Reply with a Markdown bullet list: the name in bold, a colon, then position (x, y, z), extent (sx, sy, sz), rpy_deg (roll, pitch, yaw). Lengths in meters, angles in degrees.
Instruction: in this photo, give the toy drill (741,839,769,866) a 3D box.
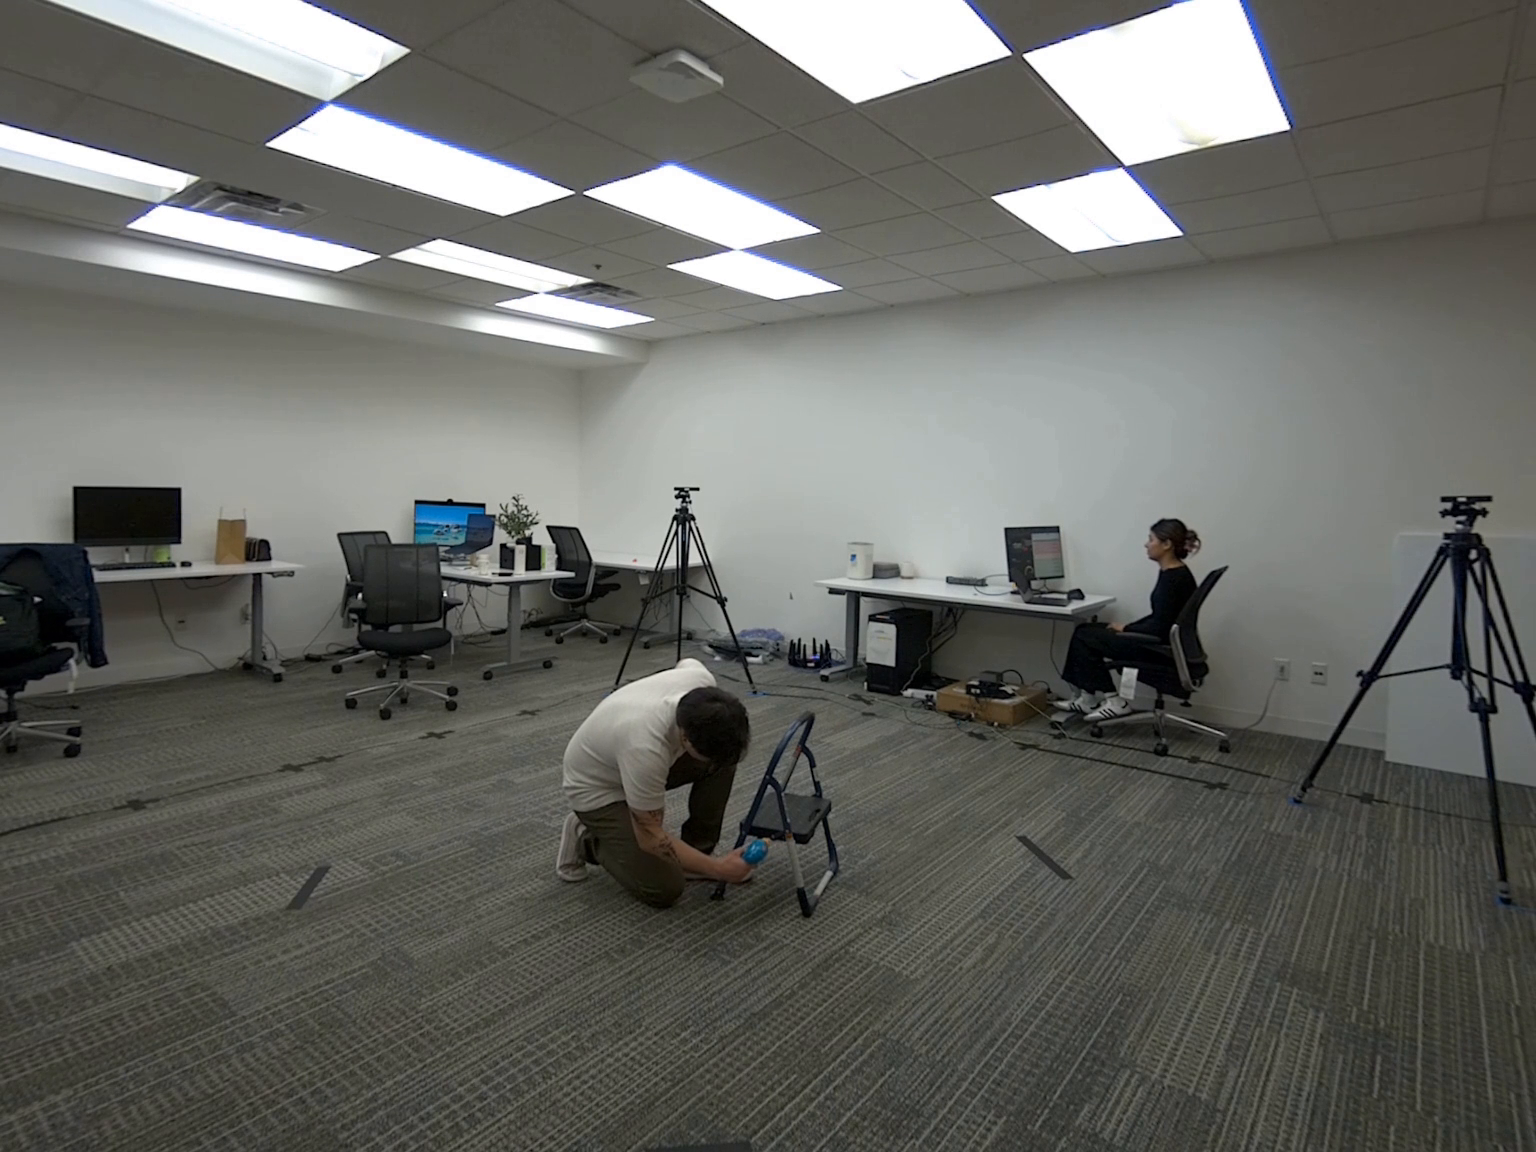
- **toy drill**: position (-0.070, 0.892, 2.730), extent (0.148, 0.062, 0.166), rpy_deg (-29, -7, 32)
